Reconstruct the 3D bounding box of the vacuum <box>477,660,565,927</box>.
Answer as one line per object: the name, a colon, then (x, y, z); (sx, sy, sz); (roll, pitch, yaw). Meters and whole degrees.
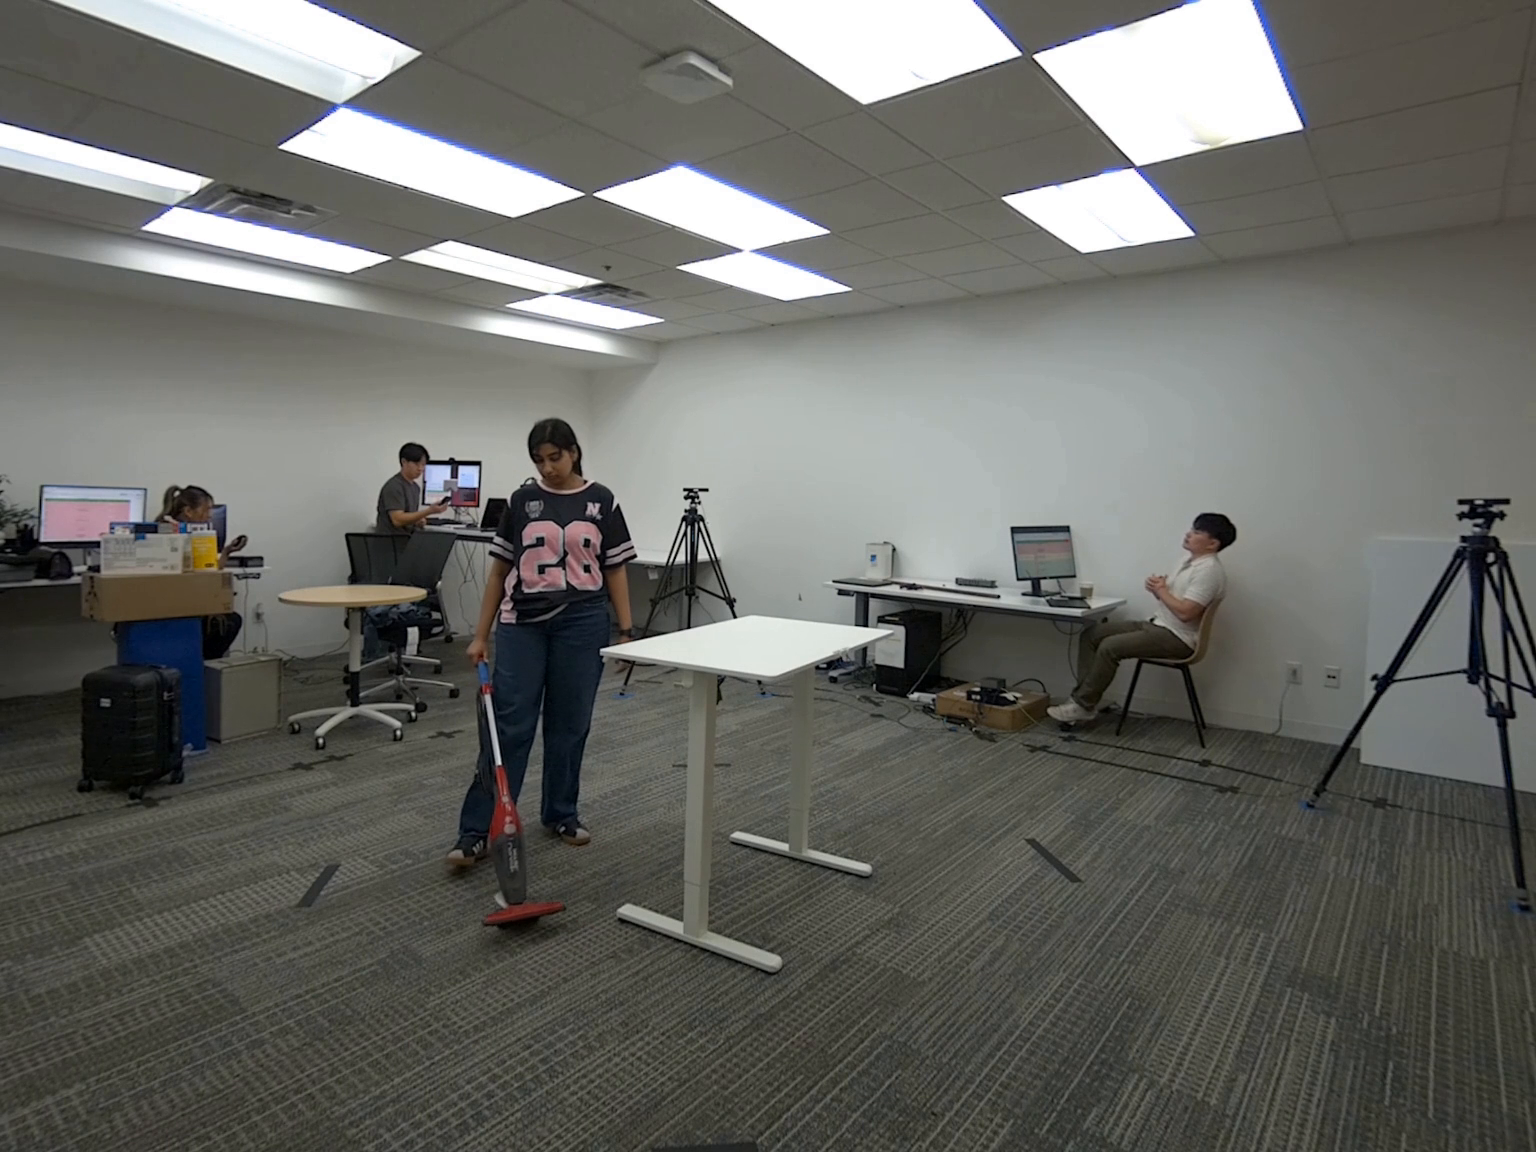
vacuum: (-0.971, 0.687, 2.978); (0.246, 0.142, 1.090); (-2, 47, -30)
